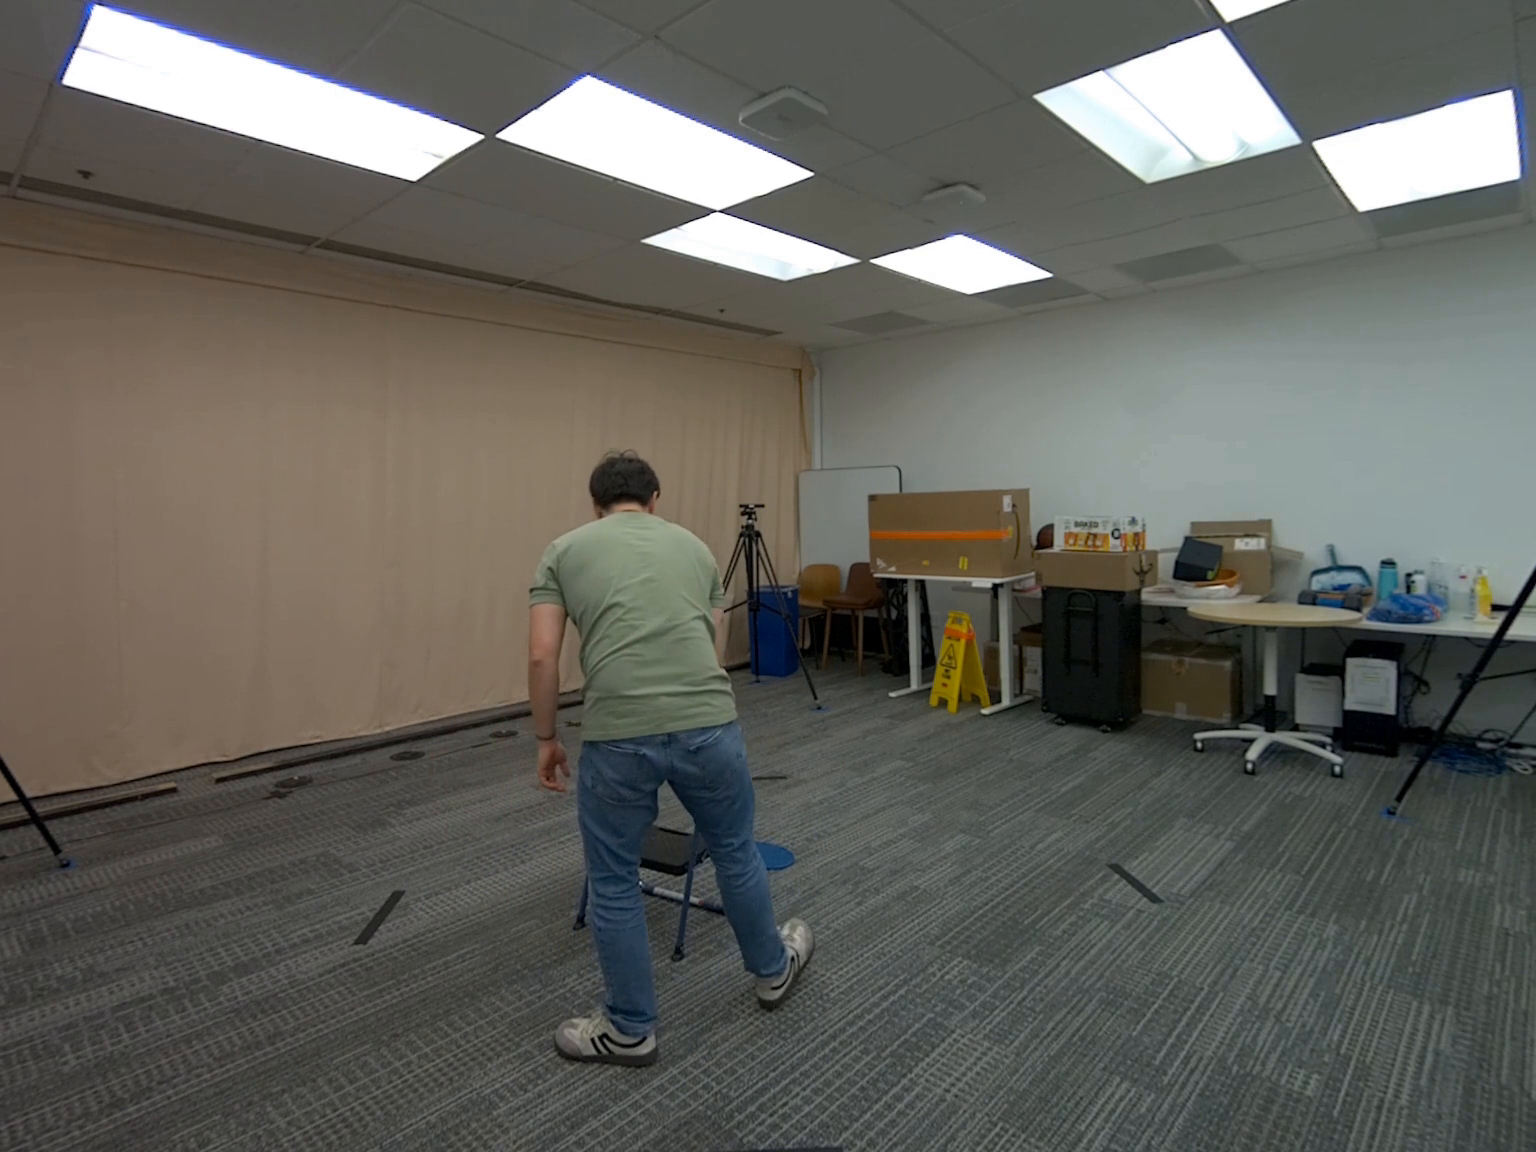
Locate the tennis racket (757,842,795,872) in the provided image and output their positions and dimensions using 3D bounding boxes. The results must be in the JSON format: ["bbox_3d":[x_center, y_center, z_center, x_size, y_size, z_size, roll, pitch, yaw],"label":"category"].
[{"bbox_3d":[-0.087,1.089,3.358,0.446,0.031,0.208,4,7,33],"label":"tennis racket"}]
